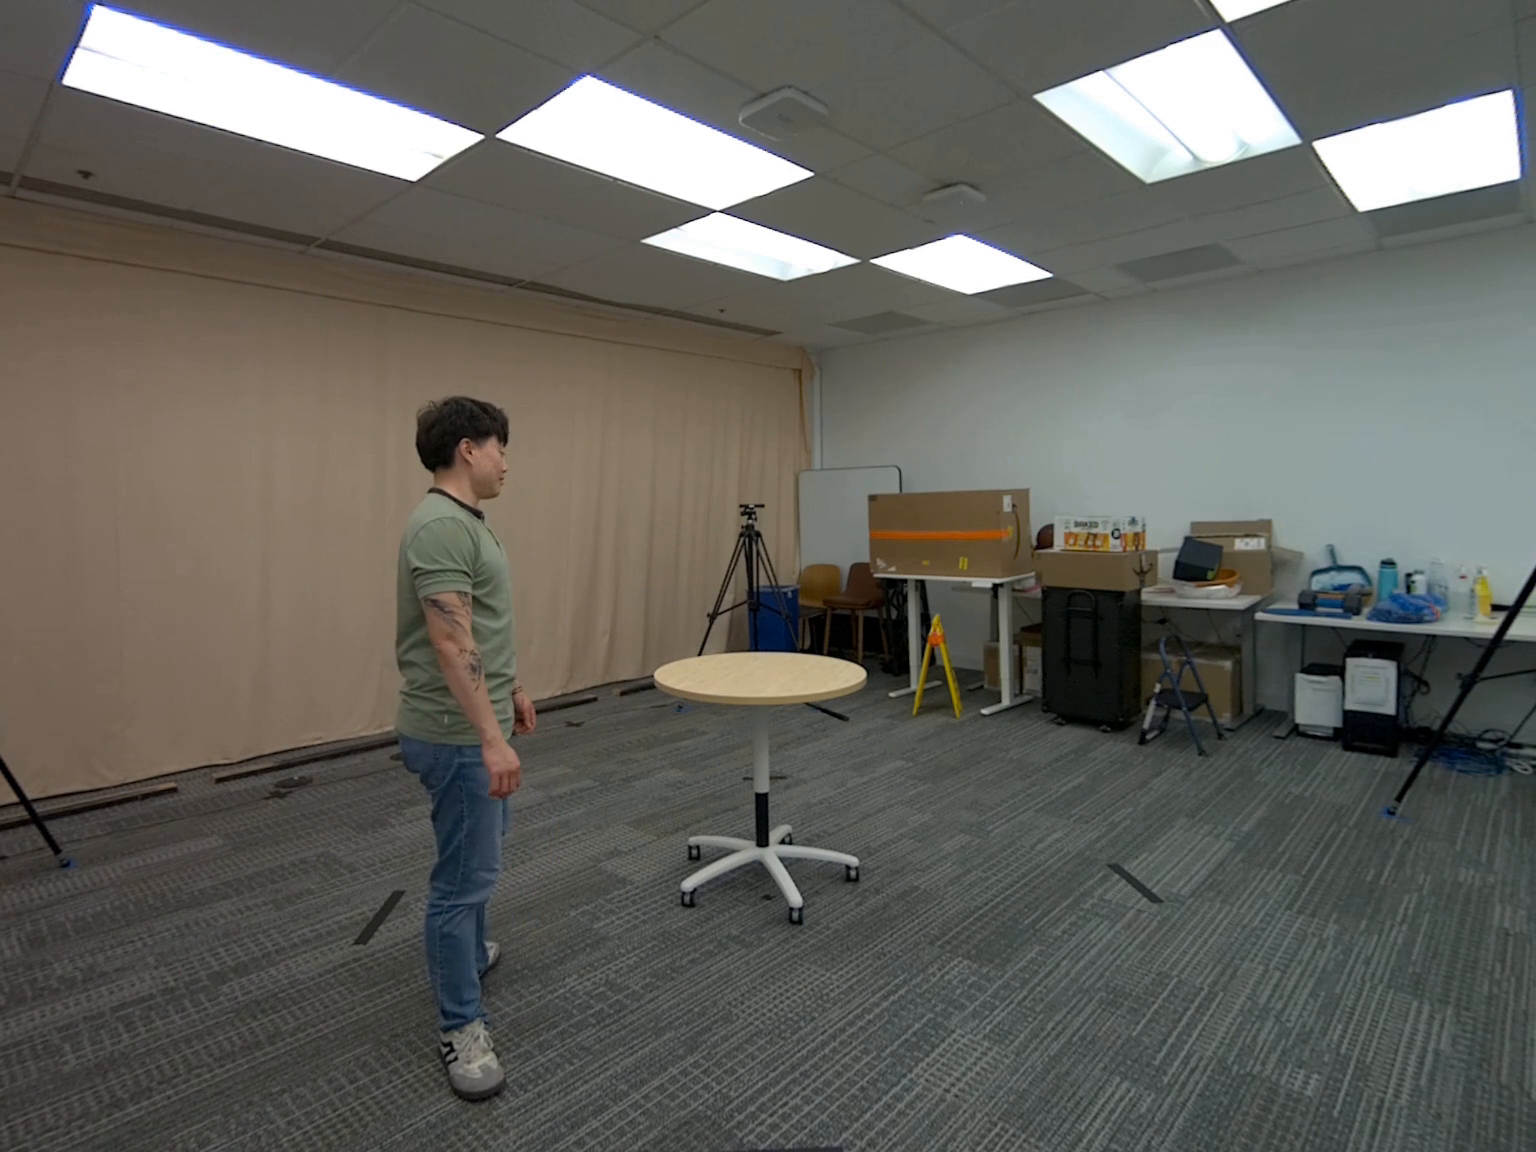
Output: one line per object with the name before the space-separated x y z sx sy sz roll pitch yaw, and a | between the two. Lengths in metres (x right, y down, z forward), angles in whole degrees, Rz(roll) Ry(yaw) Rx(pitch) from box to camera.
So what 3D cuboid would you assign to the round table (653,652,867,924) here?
round table | -0.018 0.741 3.078 0.763 0.792 0.767 -1 4 -2
